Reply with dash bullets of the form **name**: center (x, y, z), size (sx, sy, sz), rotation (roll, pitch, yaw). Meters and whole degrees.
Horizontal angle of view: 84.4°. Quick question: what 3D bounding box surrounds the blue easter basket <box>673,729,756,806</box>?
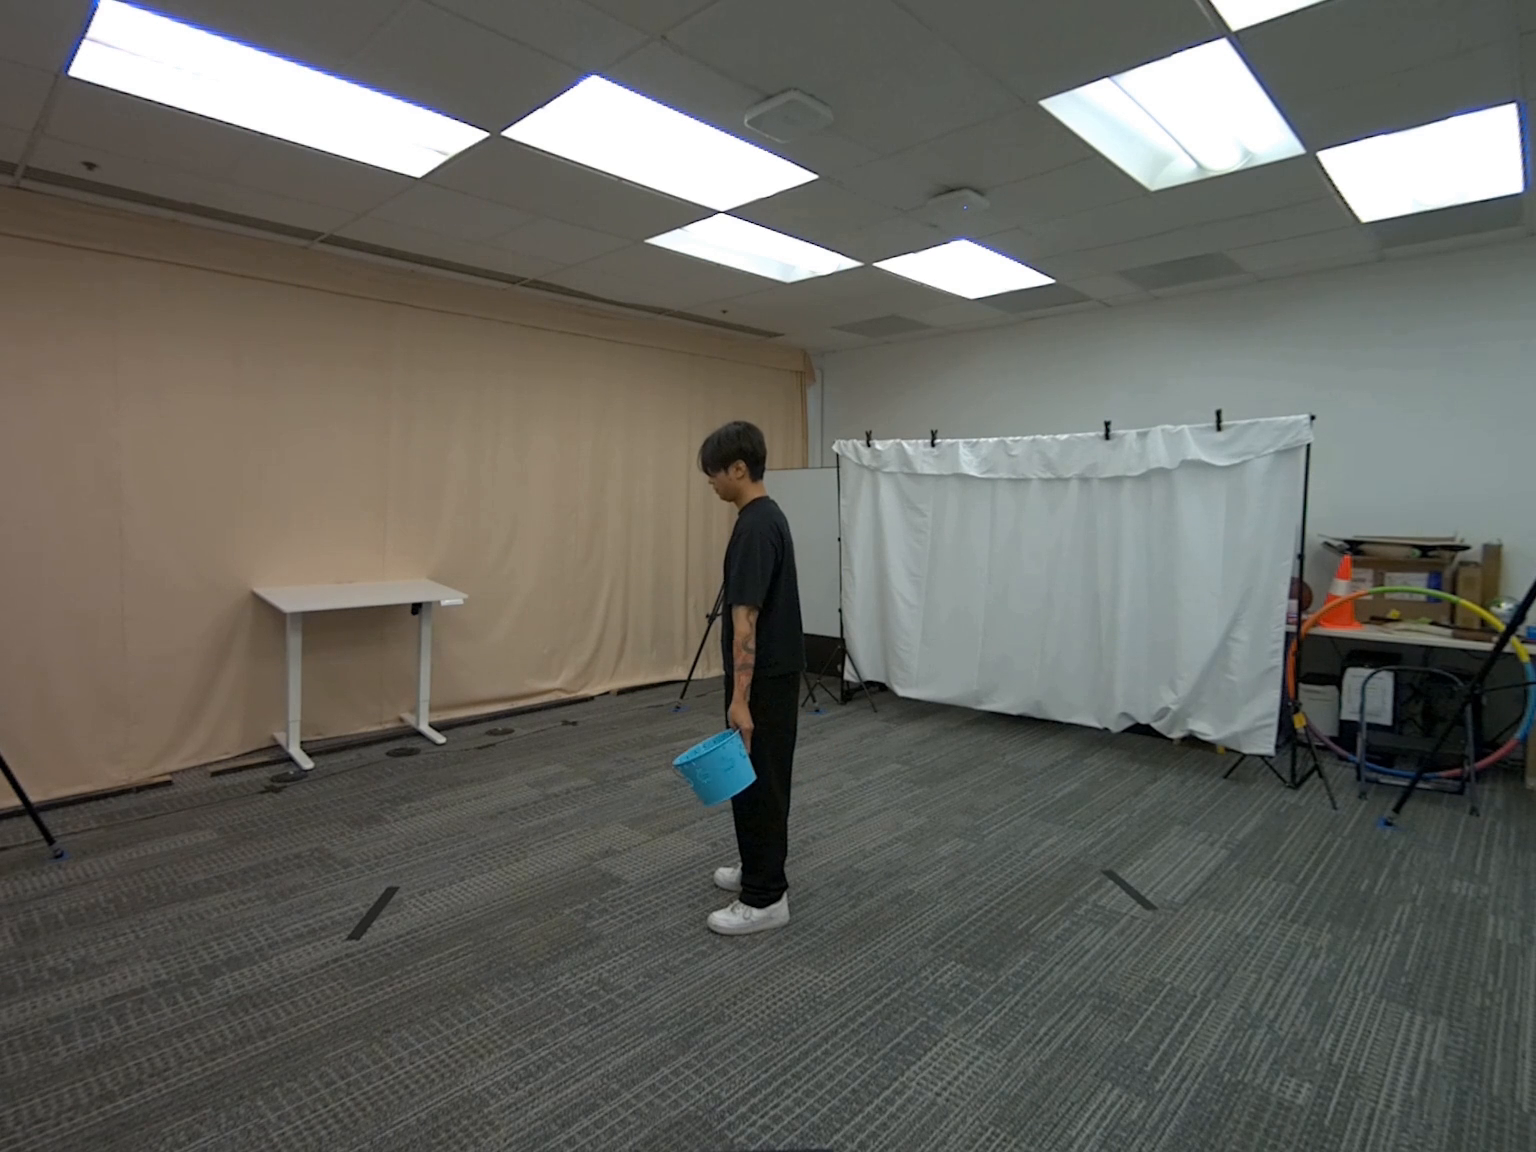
- **blue easter basket**: center (-0.147, 0.572, 2.532), size (0.243, 0.156, 0.243), rotation (-27, -2, -3)
